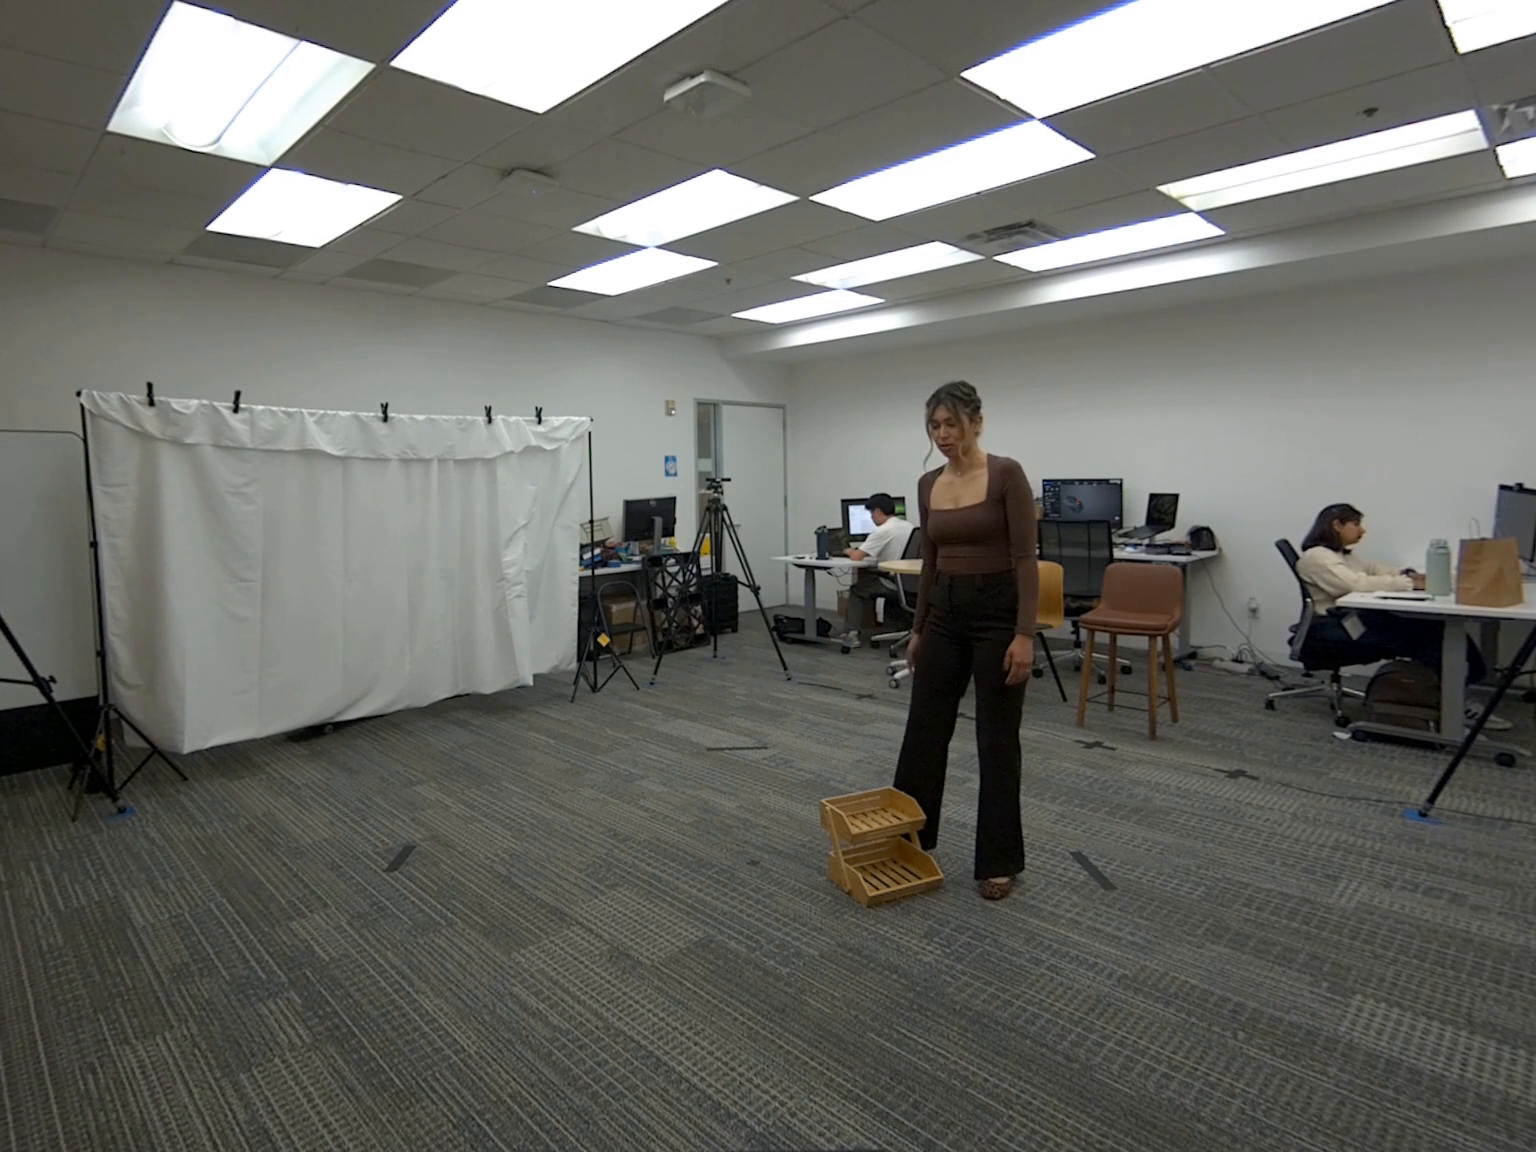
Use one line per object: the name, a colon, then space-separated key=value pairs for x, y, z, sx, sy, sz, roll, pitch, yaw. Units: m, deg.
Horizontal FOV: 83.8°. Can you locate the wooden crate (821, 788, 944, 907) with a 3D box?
wooden crate: x=0.394 y=0.920 z=2.936 sx=0.317 sy=0.273 sz=0.309 roll=-3 pitch=4 yaw=-26
